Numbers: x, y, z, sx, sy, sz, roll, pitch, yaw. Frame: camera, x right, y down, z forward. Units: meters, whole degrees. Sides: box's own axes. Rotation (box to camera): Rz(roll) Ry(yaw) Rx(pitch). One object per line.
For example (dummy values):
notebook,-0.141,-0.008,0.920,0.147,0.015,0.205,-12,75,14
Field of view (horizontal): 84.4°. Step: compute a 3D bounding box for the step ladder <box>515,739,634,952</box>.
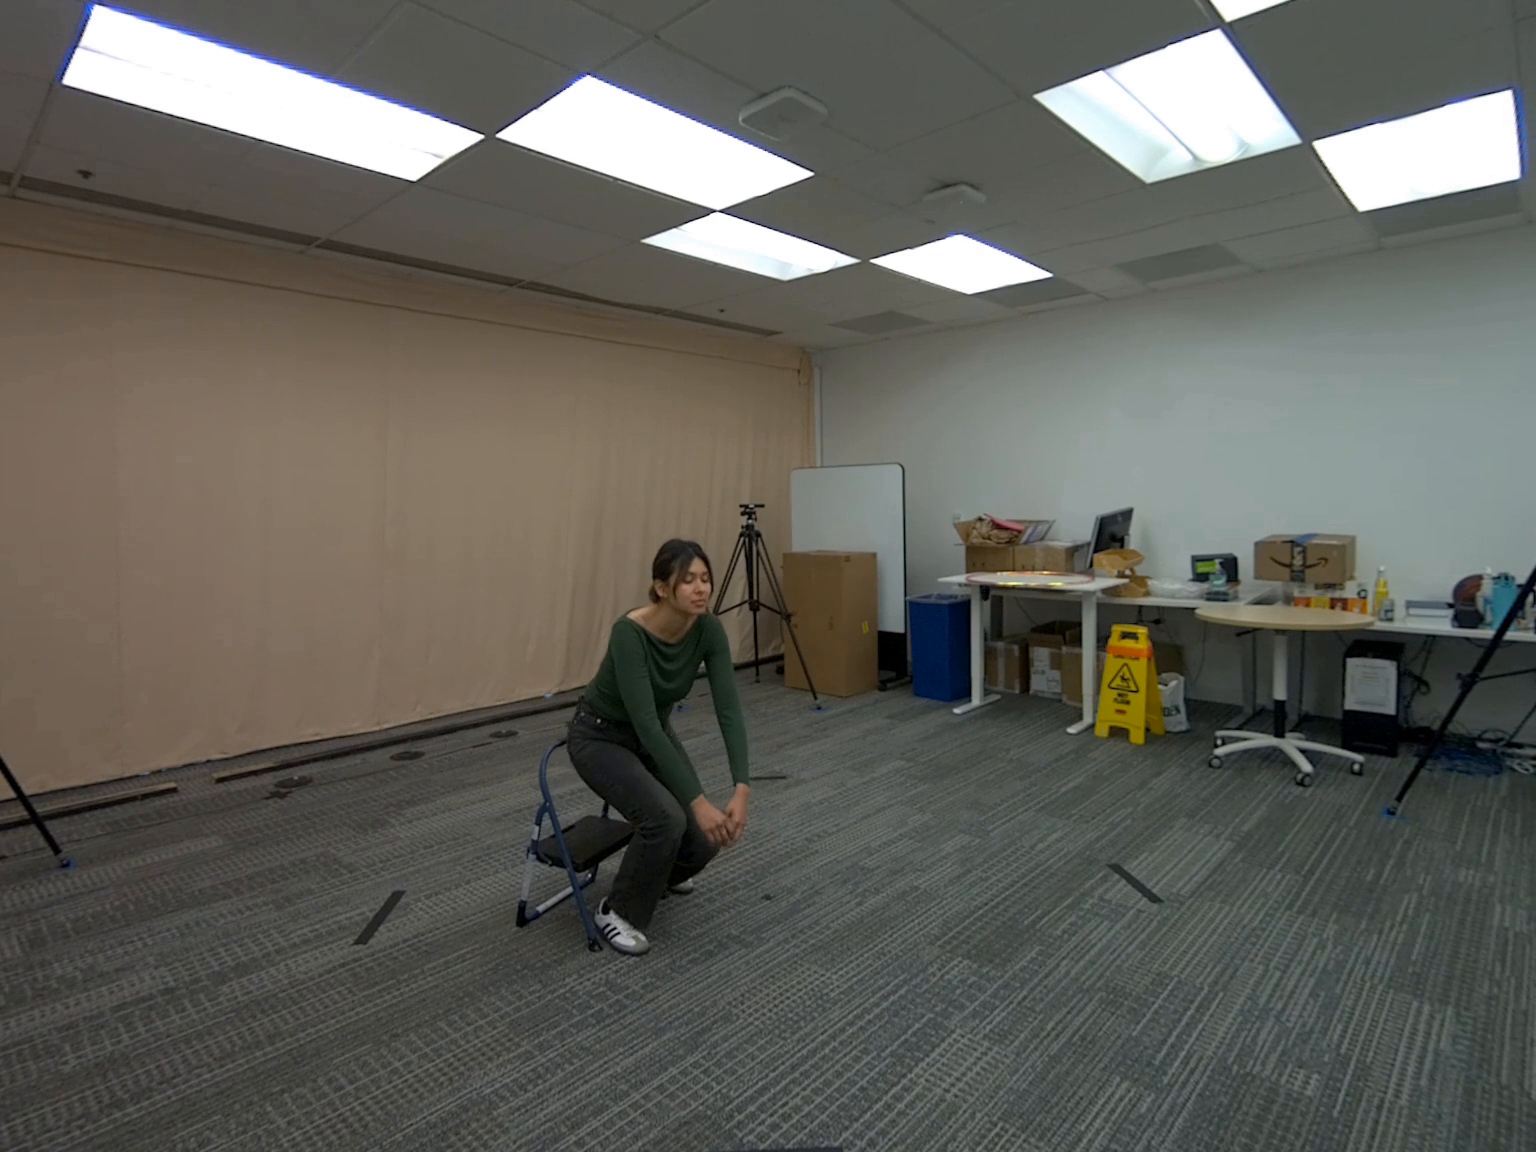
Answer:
step ladder,-0.605,0.860,2.893,0.358,0.605,0.420,1,3,26
